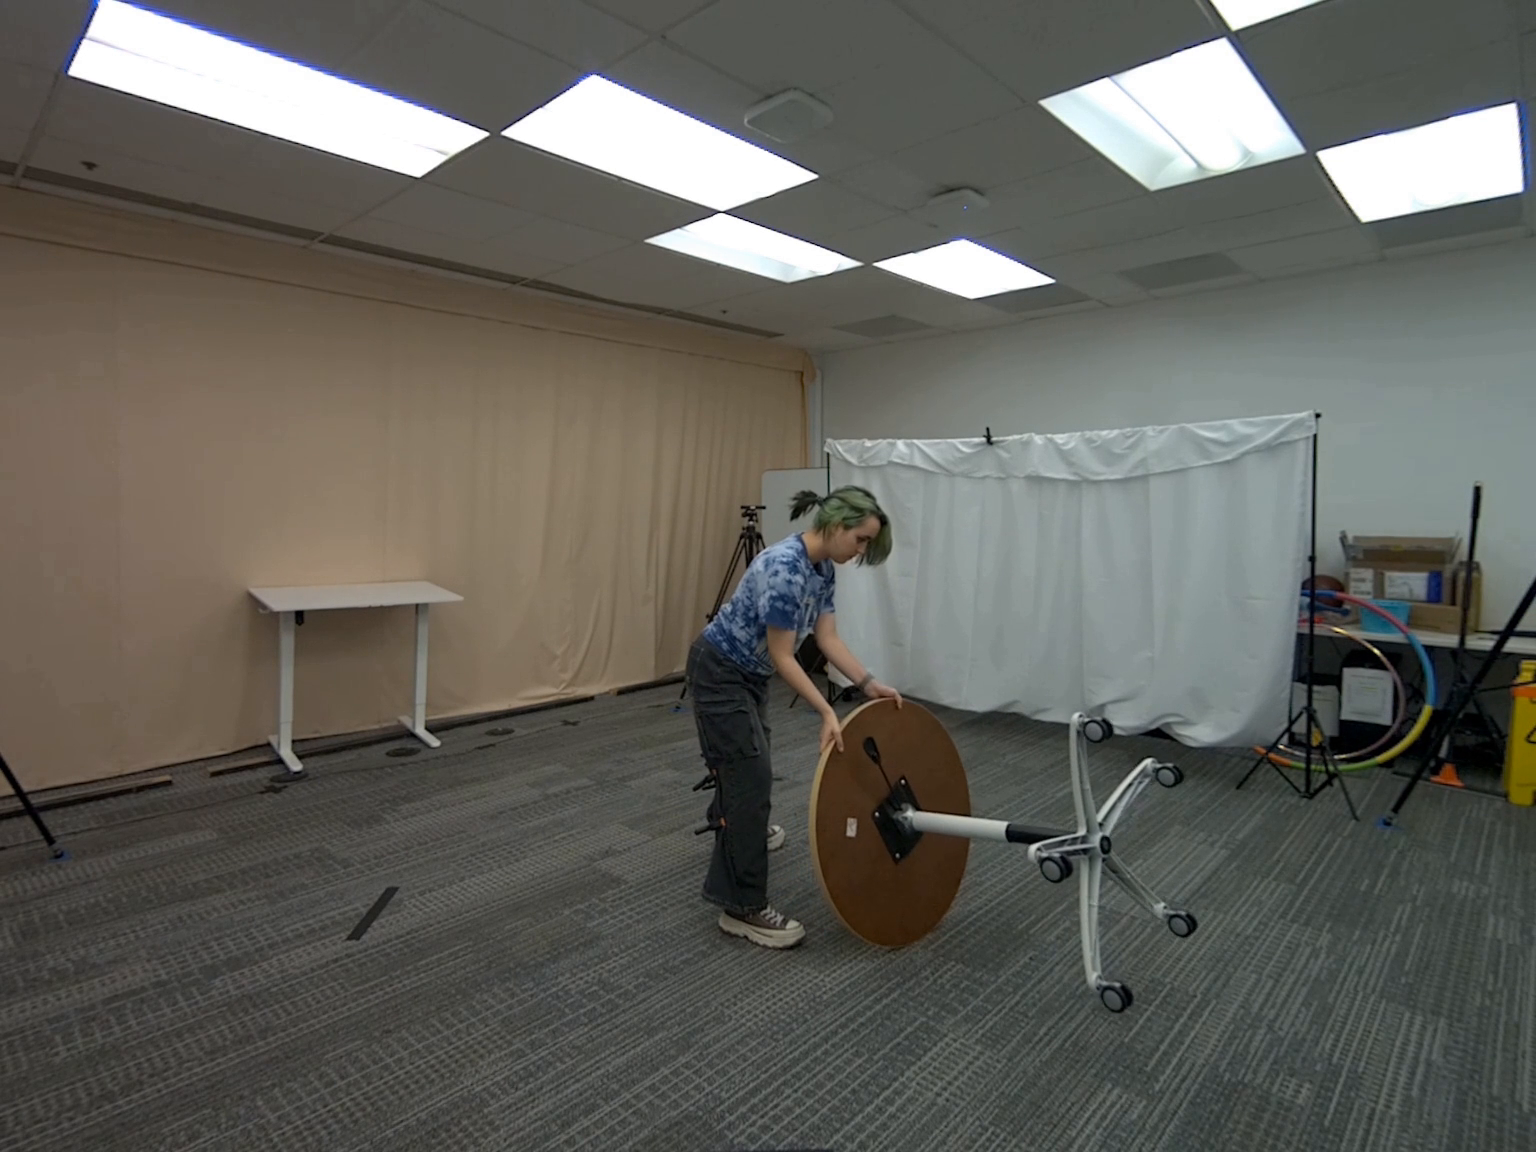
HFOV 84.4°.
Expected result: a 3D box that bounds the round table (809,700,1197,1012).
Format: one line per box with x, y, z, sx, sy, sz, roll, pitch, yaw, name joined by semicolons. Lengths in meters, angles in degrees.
0.673;0.749;2.425;0.741;0.767;0.816;-3;-5;-41;round table
